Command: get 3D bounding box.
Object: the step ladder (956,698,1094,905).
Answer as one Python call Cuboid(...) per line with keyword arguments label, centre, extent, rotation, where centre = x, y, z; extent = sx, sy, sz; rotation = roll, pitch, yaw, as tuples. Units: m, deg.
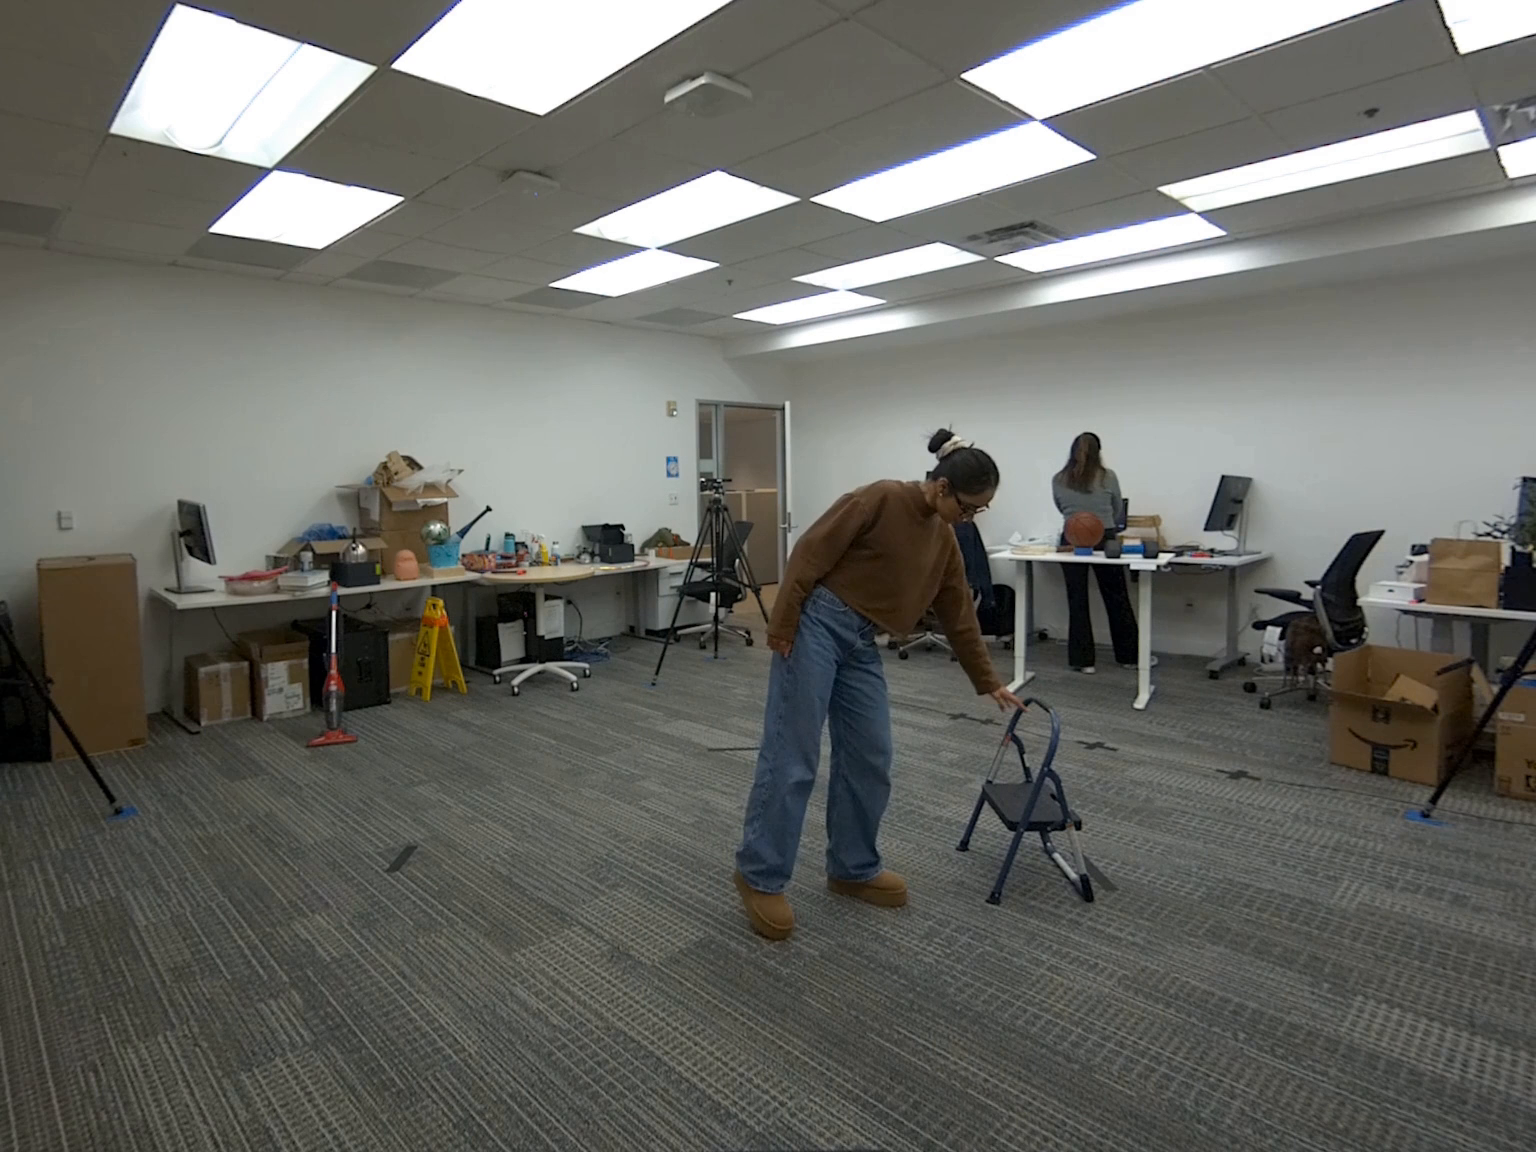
Cuboid(label="step ladder", centre=(0.887, 0.743, 2.969), extent=(0.349, 0.604, 0.432), rotation=(-1, 4, -1))
